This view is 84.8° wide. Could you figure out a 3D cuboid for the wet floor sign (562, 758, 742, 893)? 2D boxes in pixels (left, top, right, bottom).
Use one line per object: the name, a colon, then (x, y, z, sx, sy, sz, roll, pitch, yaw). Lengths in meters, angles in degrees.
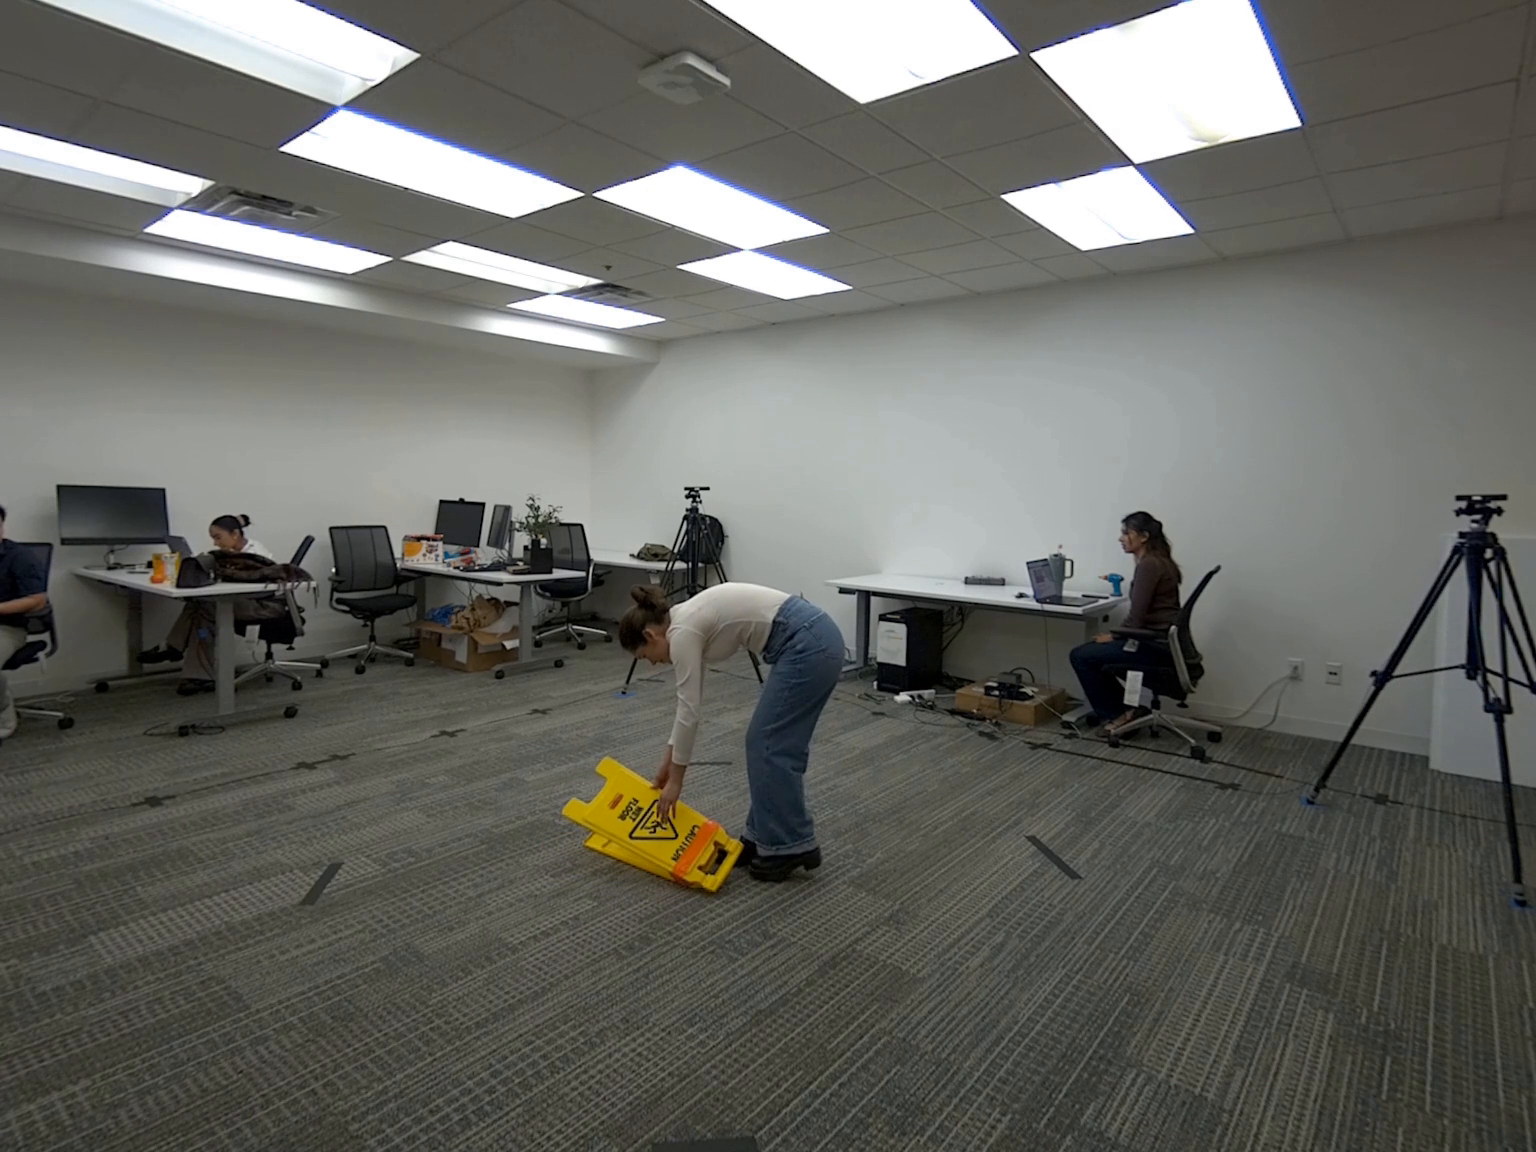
wet floor sign: (-0.414, 0.952, 3.123, 0.669, 0.280, 0.282, 14, 46, 33)
